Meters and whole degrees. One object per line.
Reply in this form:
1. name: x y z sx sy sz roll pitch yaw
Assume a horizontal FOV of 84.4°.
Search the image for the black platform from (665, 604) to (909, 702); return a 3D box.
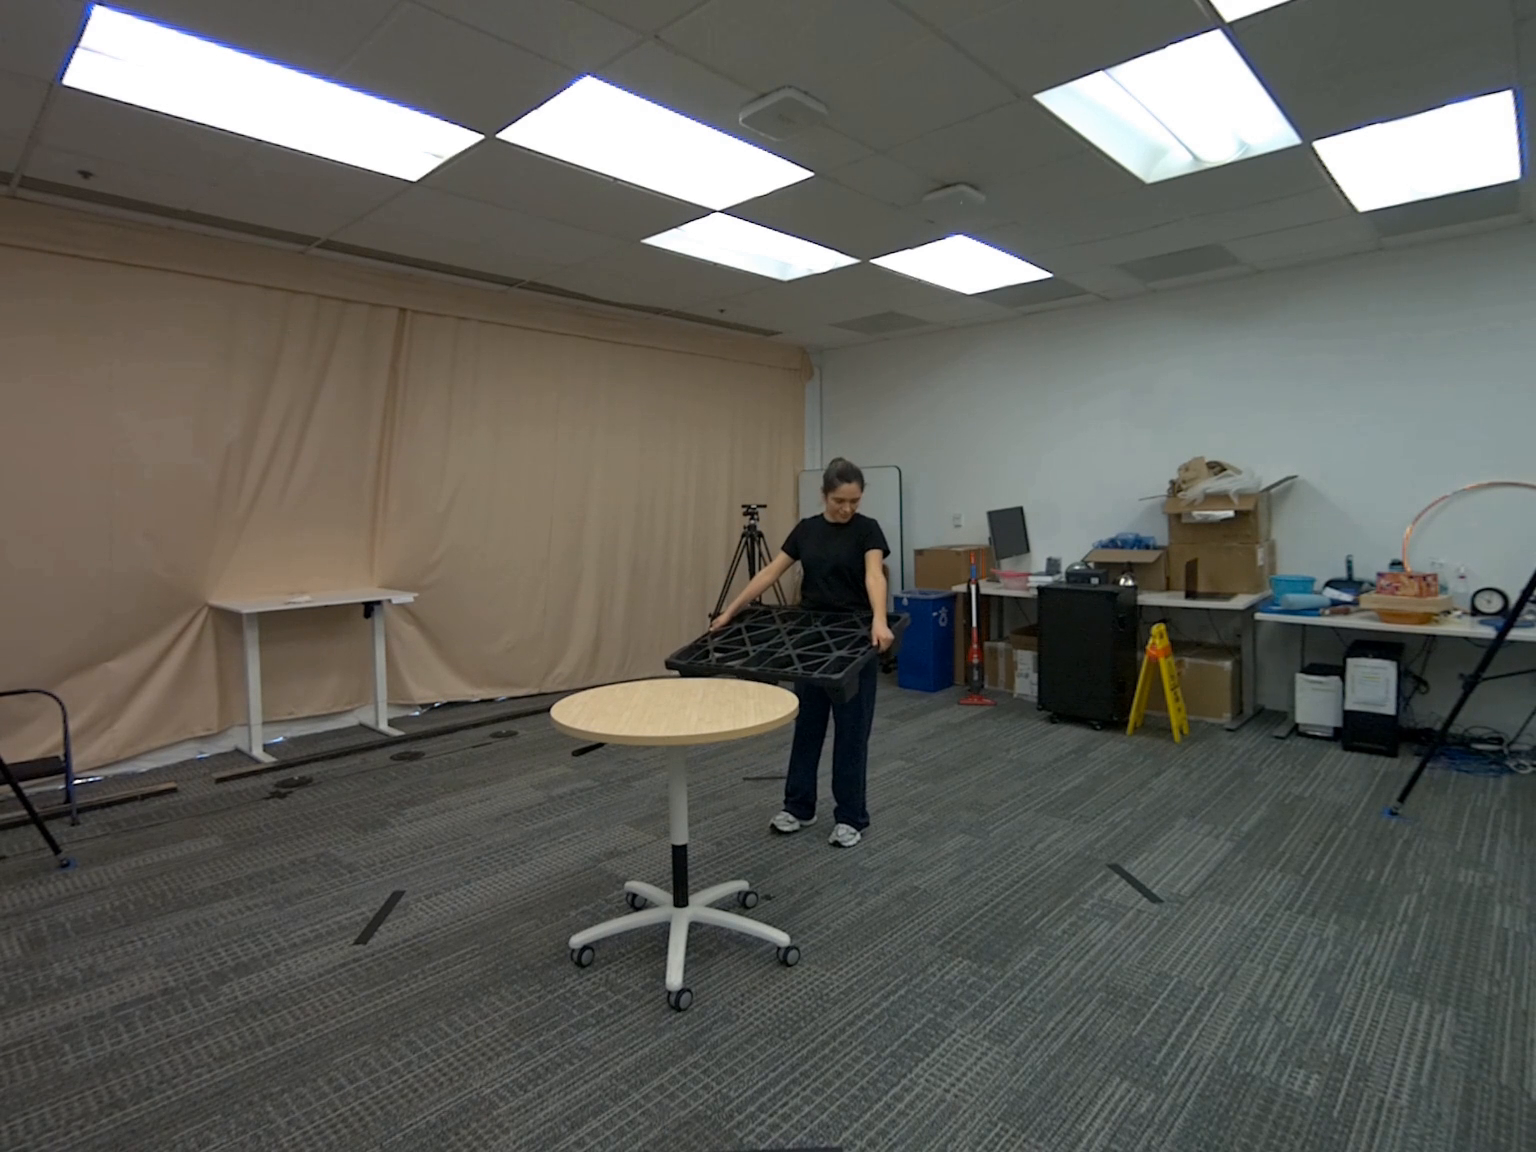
1. black platform: 0.084 0.298 3.323 0.830 0.141 0.594 0 19 35
